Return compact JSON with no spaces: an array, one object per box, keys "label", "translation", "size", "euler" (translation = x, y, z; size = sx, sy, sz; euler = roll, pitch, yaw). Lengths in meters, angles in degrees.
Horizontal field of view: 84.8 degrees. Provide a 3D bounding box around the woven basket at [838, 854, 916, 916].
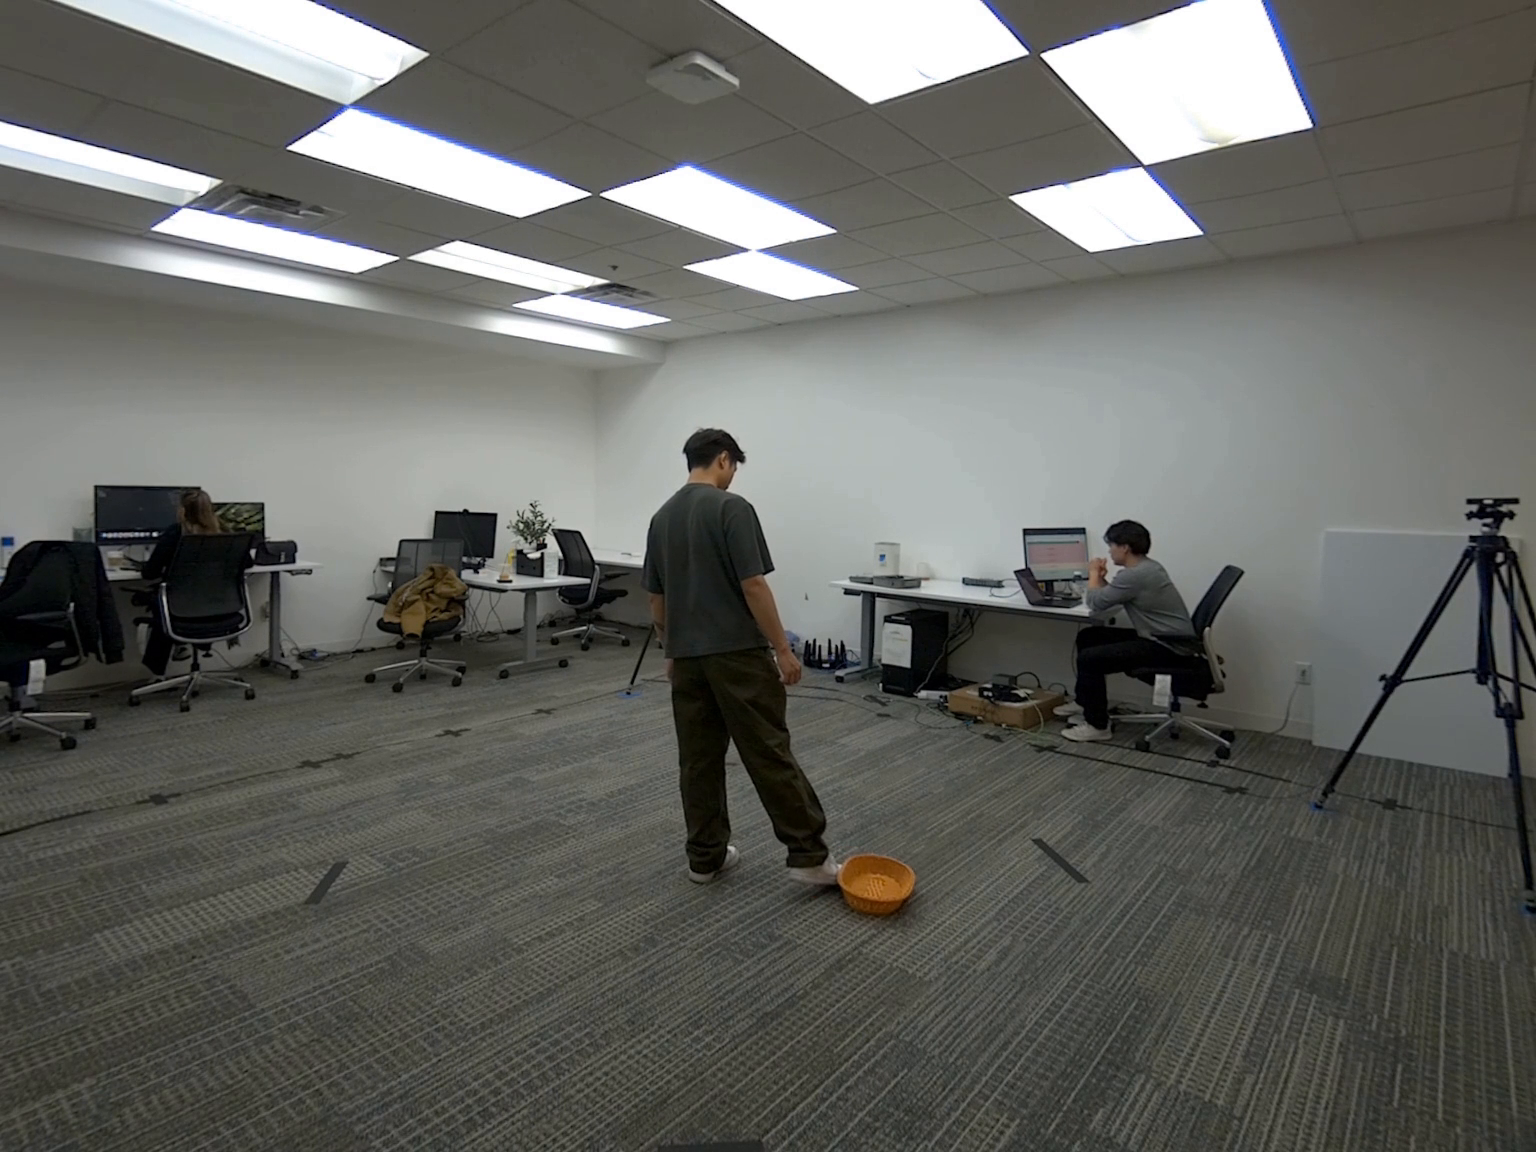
[{"label":"woven basket","translation":[0.358,1.057,2.919],"size":[0.259,0.073,0.343],"euler":[6,7,22]}]
